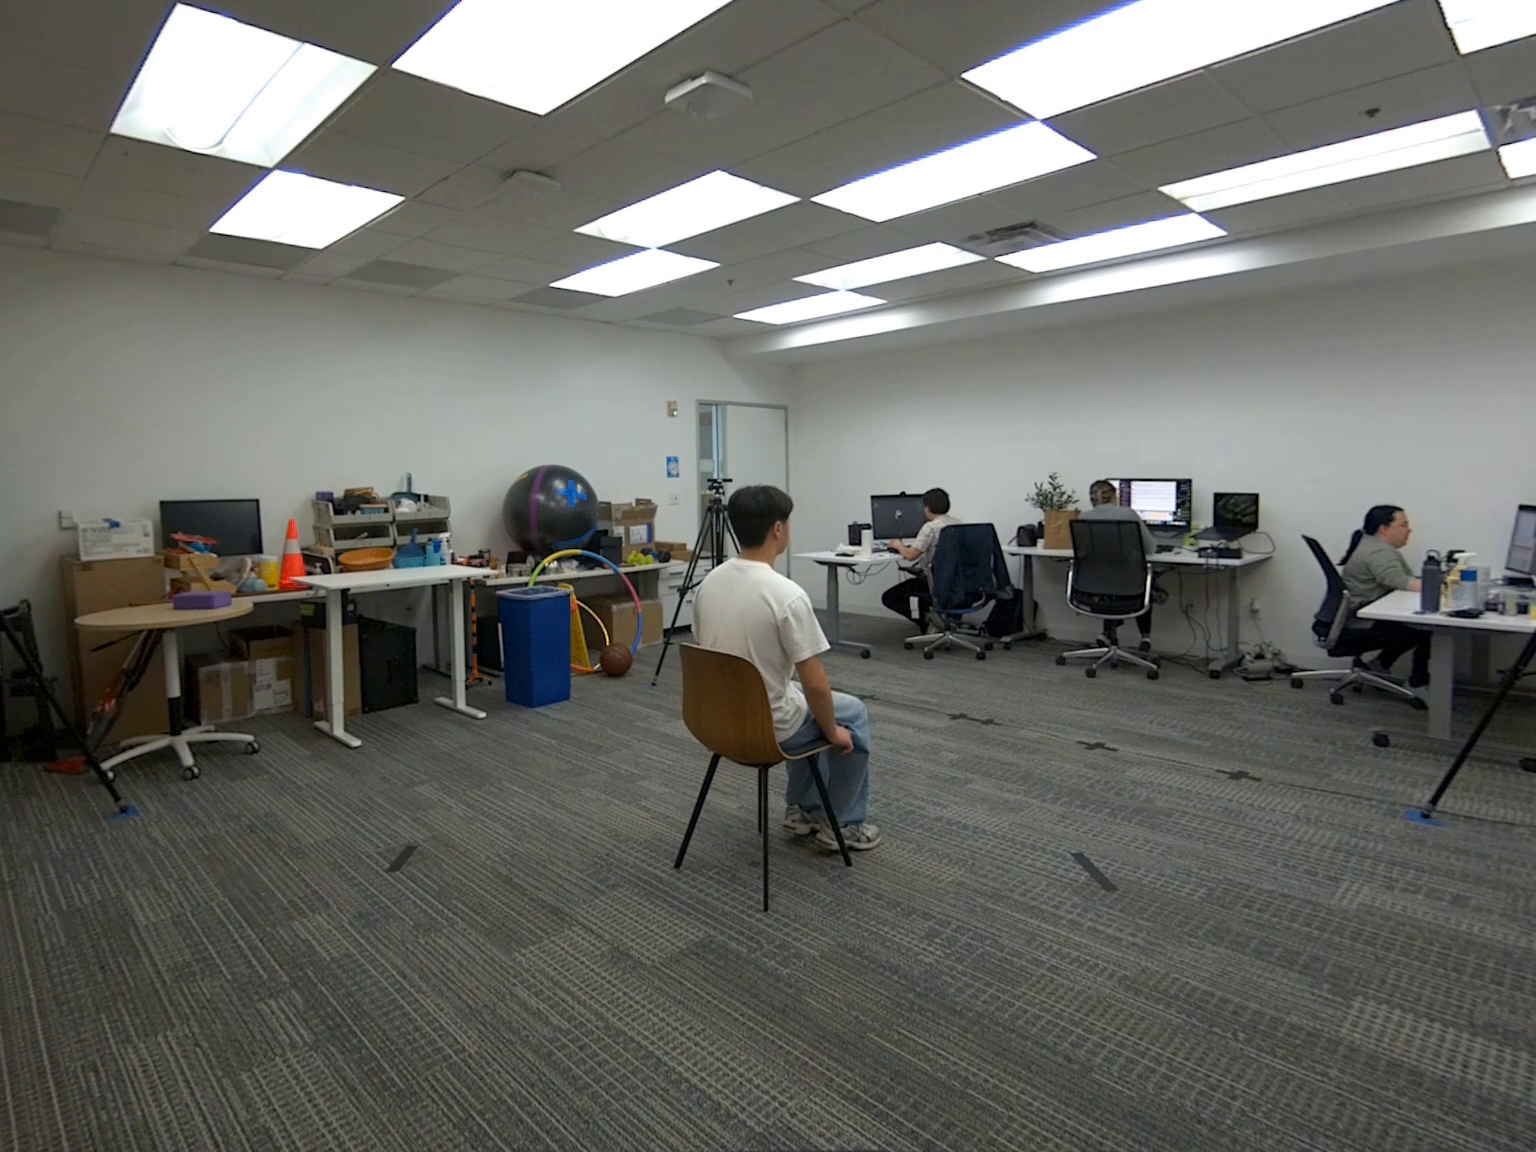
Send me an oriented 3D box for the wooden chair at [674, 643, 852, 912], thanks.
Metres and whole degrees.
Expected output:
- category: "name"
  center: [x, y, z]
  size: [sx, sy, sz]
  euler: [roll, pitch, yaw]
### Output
- category: "wooden chair"
  center: [-0.020, 0.625, 3.043]
  size: [0.493, 0.871, 0.511]
  euler: [4, 11, 44]
